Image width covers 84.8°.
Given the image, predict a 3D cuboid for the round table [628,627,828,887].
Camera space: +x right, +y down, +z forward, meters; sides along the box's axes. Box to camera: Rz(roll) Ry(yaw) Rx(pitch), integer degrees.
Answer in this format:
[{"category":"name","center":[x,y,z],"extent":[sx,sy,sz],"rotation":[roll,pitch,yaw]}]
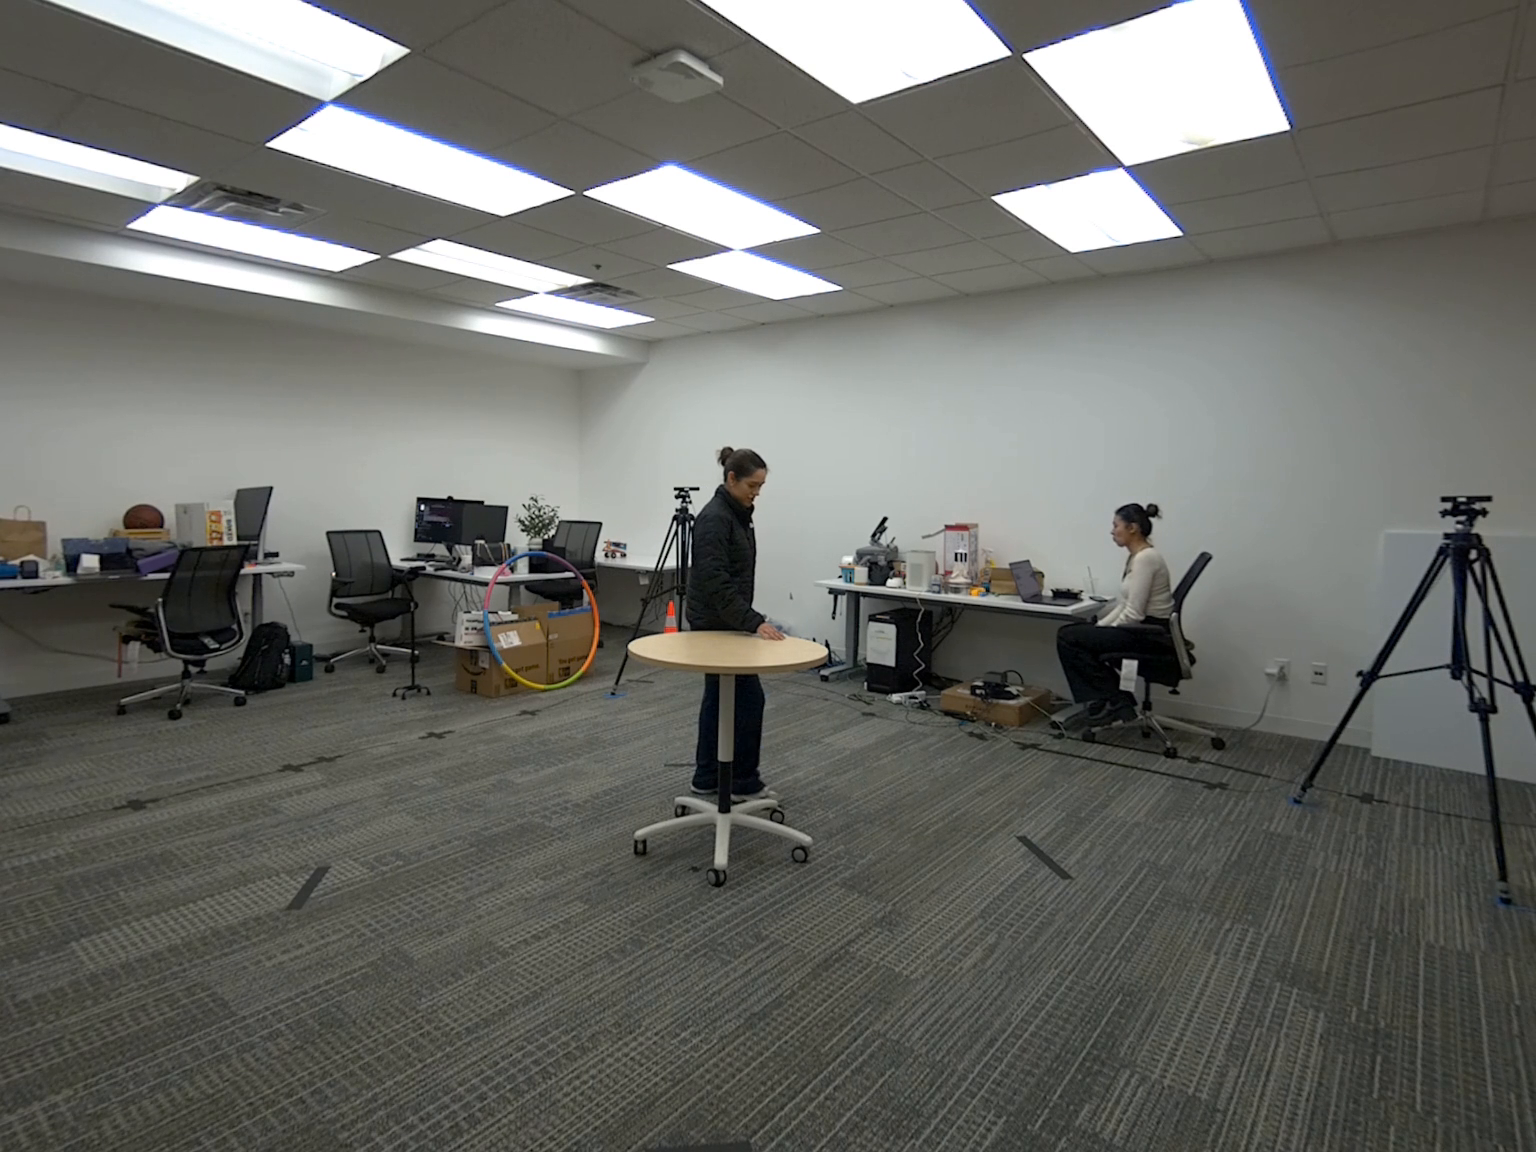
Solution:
[{"category":"round table","center":[-0.140,0.656,3.283],"extent":[0.784,0.784,0.789],"rotation":[1,4,-2]}]
